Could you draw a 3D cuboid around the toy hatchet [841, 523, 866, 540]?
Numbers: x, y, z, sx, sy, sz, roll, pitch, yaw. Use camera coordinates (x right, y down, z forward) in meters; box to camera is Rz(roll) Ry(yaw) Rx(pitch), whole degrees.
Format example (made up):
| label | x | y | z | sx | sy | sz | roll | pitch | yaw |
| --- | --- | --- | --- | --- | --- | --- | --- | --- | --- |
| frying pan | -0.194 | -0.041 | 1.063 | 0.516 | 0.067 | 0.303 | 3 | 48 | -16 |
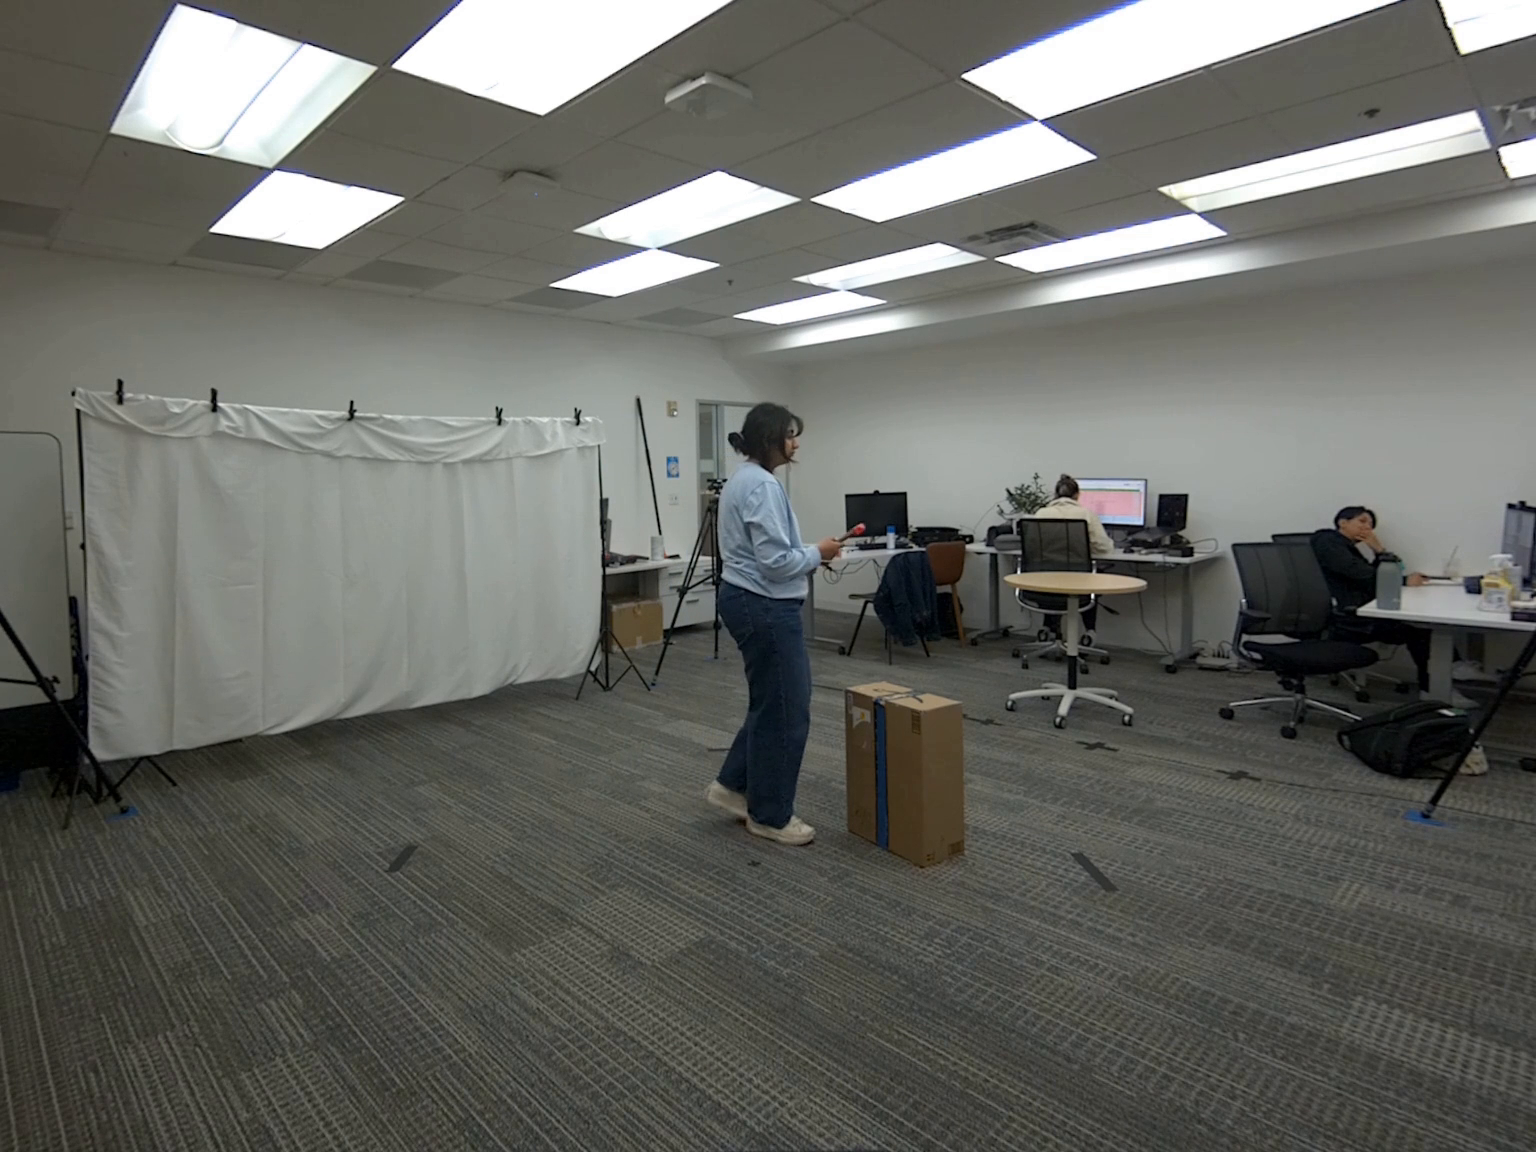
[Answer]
| label | x | y | z | sx | sy | sz | roll | pitch | yaw |
| --- | --- | --- | --- | --- | --- | --- | --- | --- | --- |
| toy hatchet | 0.263 | -0.130 | 3.362 | 0.271 | 0.029 | 0.131 | -27 | 6 | 12 |
